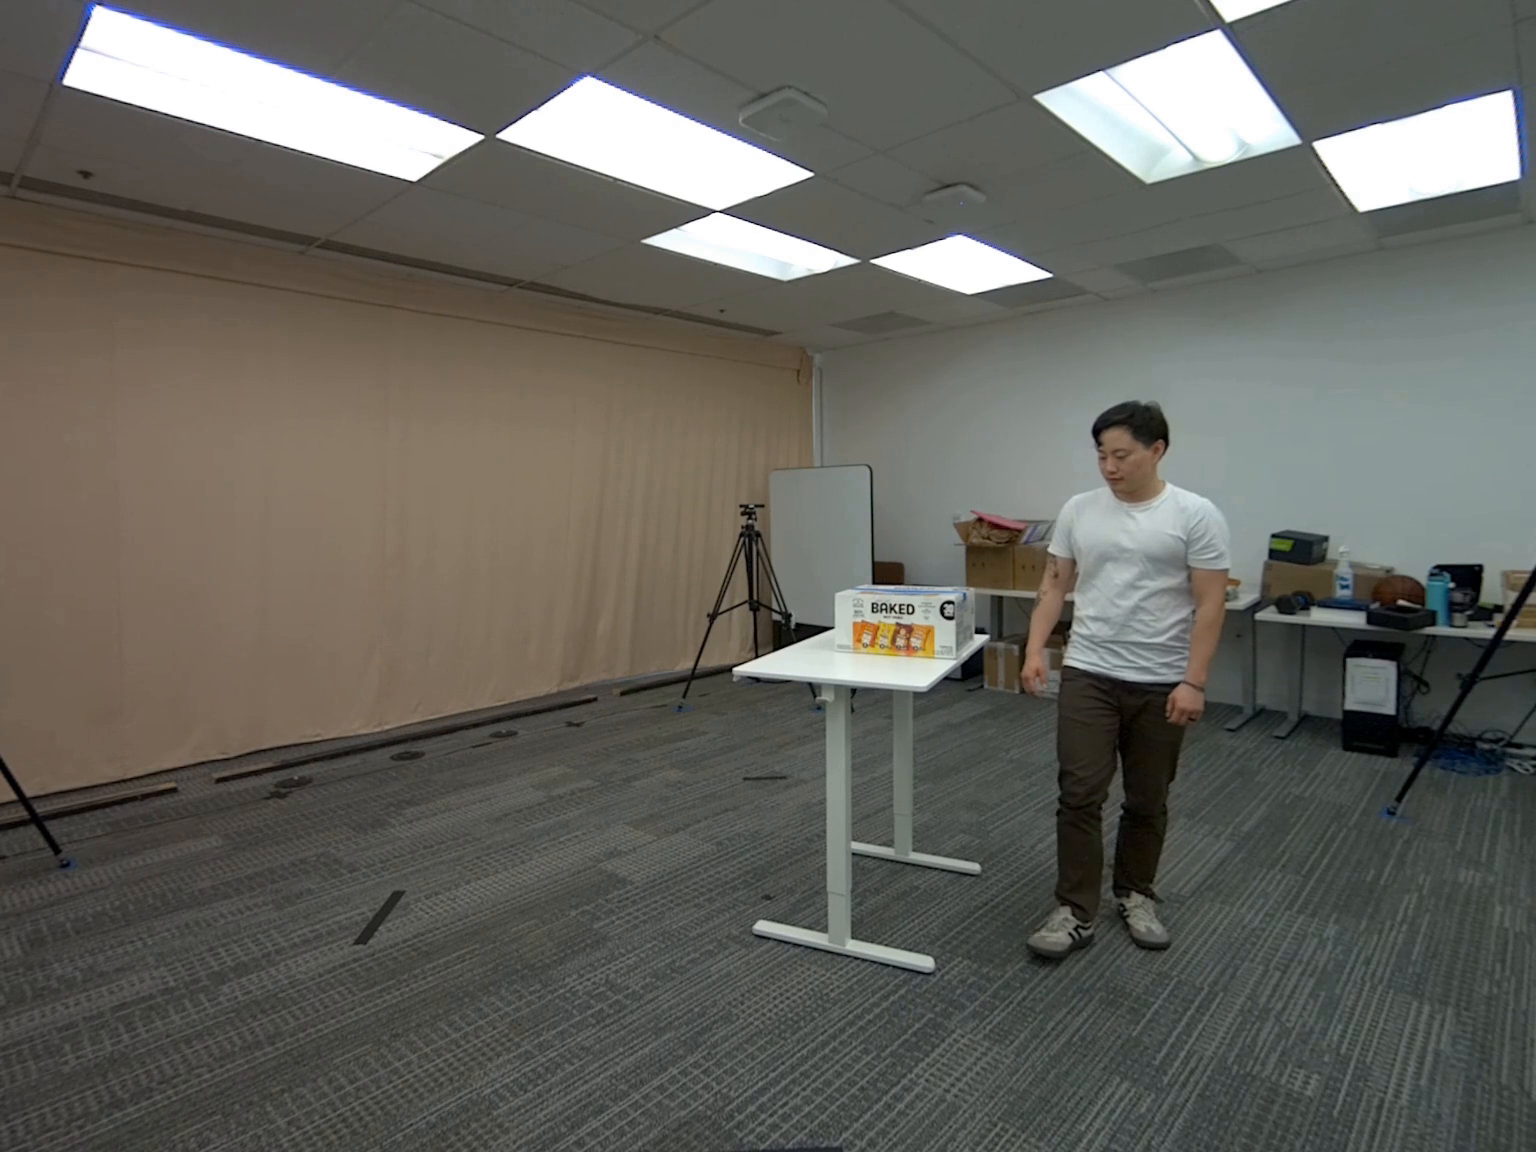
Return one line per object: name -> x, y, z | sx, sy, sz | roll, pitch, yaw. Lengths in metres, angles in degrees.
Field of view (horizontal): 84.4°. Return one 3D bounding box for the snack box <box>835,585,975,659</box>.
snack box -> 0.486, 0.153, 2.945 | 0.416, 0.205, 0.332 | 2, 5, 25
